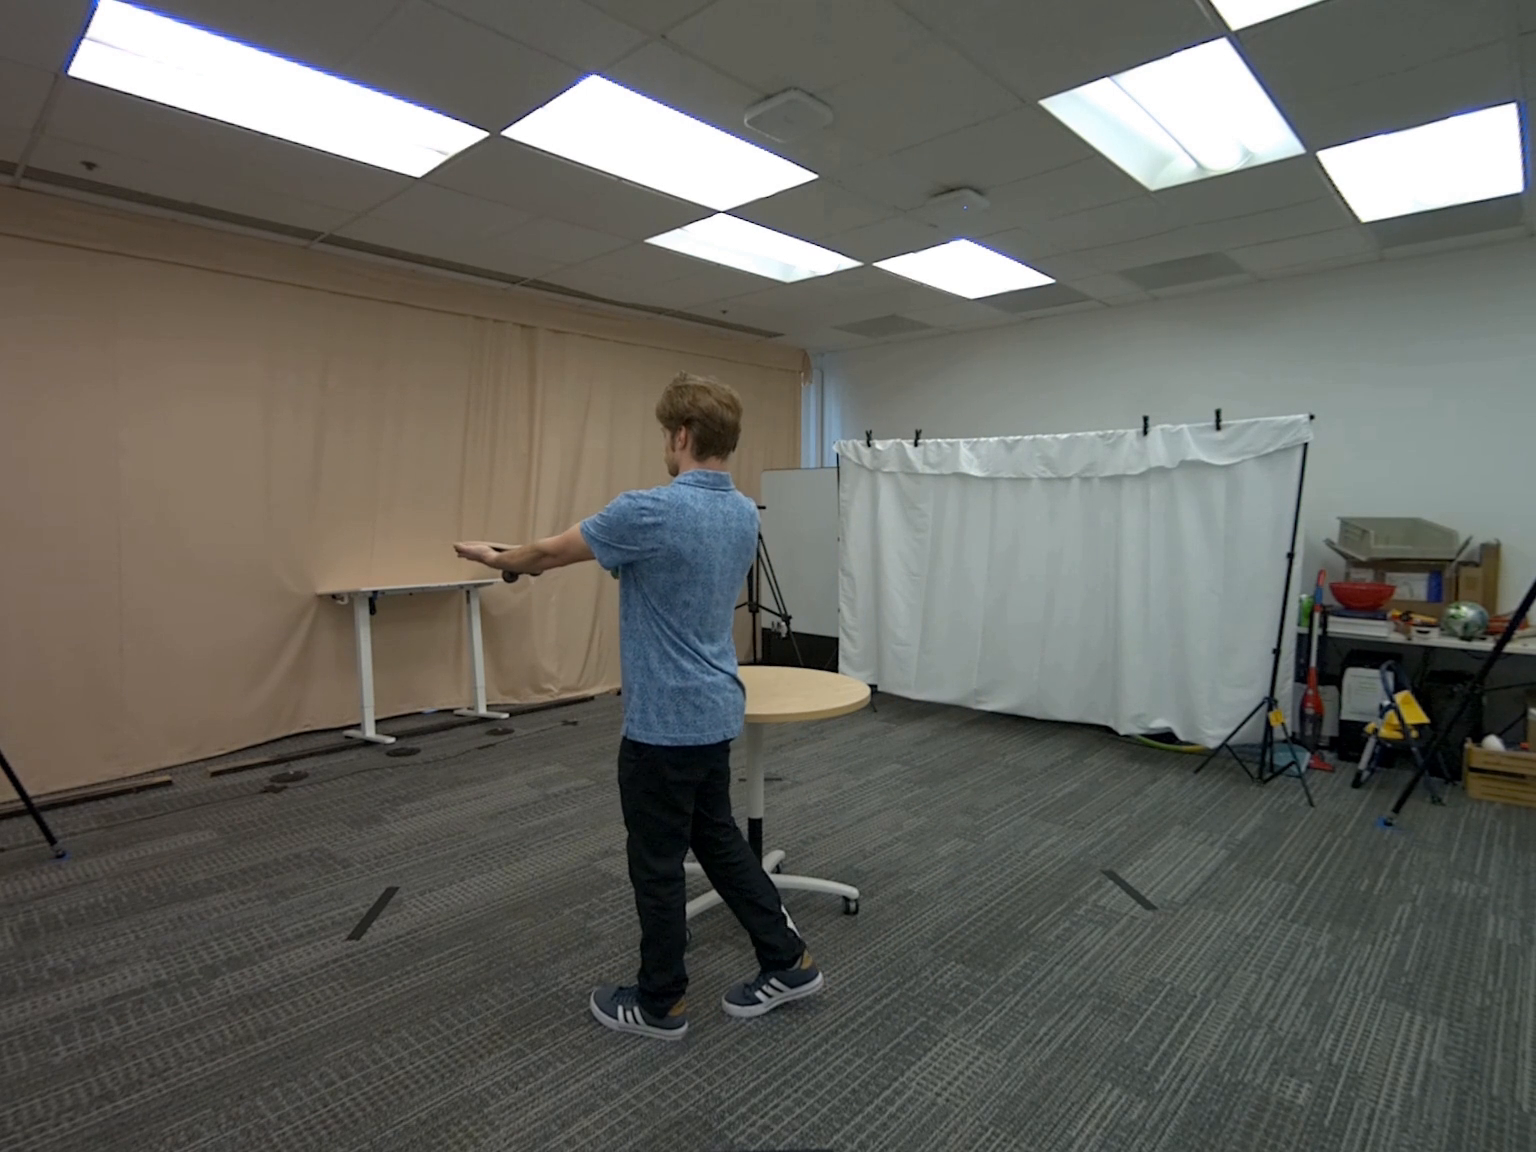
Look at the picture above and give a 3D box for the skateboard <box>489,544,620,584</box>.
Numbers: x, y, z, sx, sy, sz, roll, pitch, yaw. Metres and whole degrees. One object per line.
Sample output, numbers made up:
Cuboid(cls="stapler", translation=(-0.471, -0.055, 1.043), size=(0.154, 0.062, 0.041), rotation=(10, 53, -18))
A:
Cuboid(cls="skateboard", translation=(-0.594, -0.046, 2.621), size=(0.761, 0.111, 0.198), rotation=(-3, -9, -43))
